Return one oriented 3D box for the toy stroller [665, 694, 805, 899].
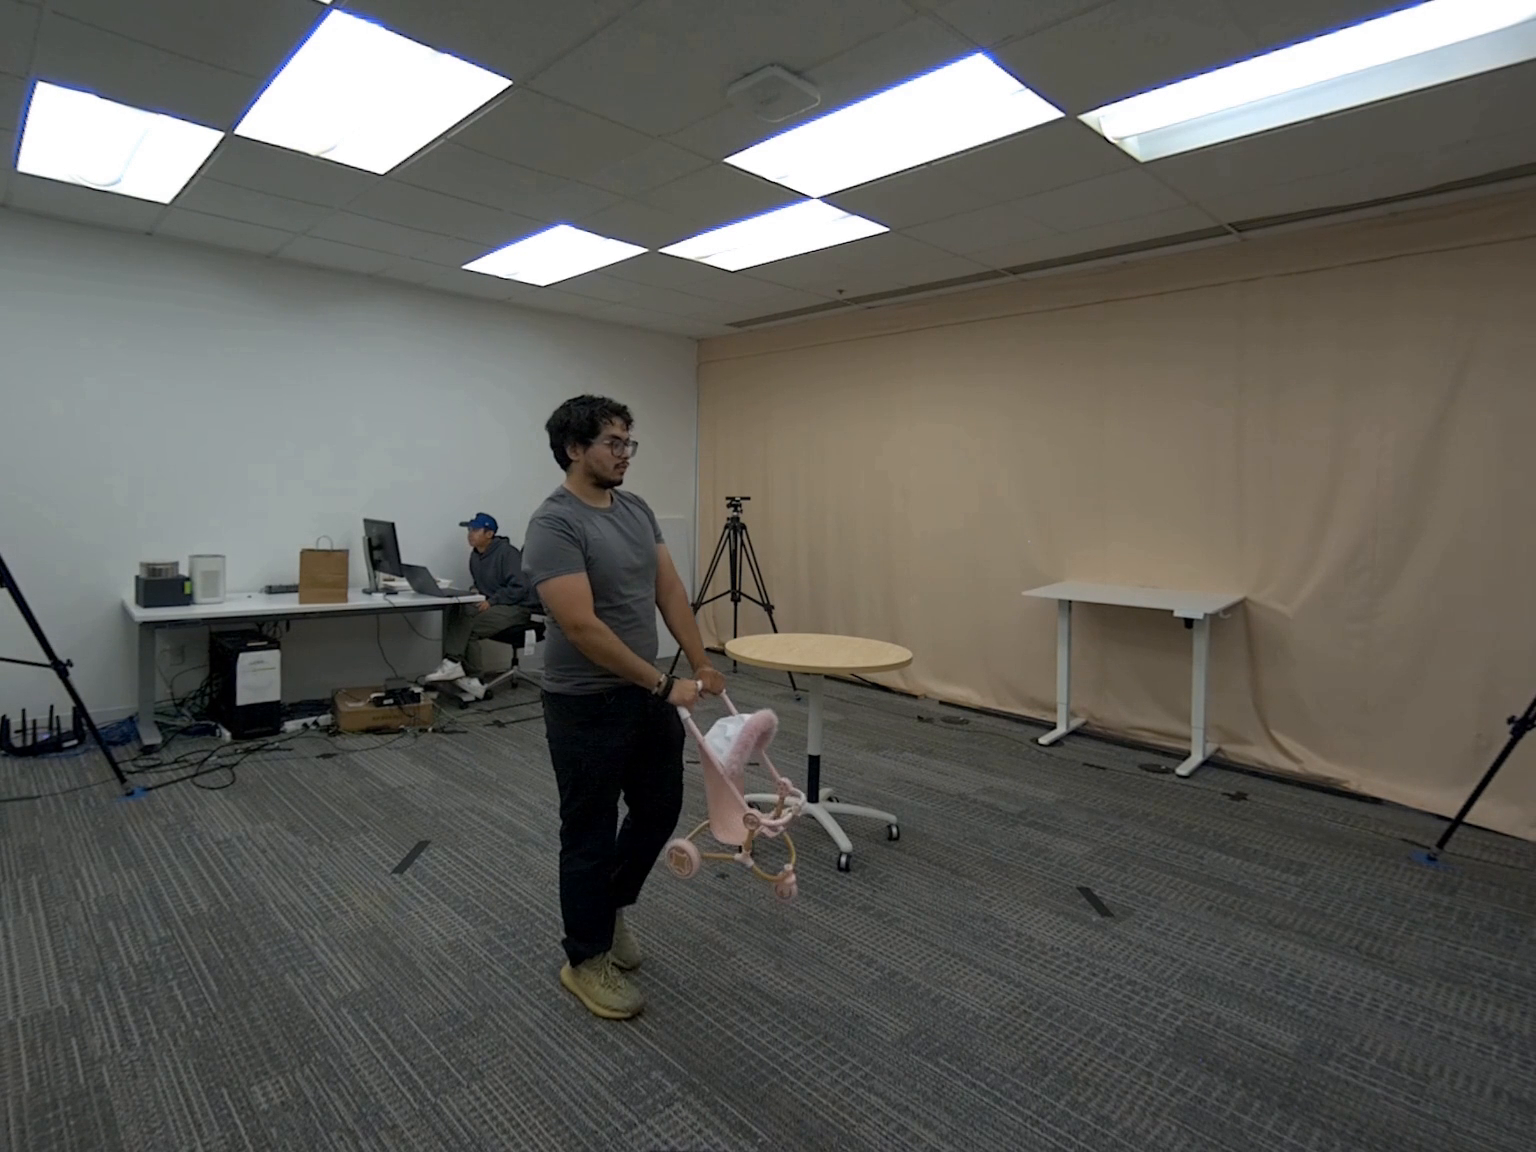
[{"bbox_3d":[-0.075,0.578,2.193,0.349,0.531,0.277,9,13,31],"label":"toy stroller"}]
